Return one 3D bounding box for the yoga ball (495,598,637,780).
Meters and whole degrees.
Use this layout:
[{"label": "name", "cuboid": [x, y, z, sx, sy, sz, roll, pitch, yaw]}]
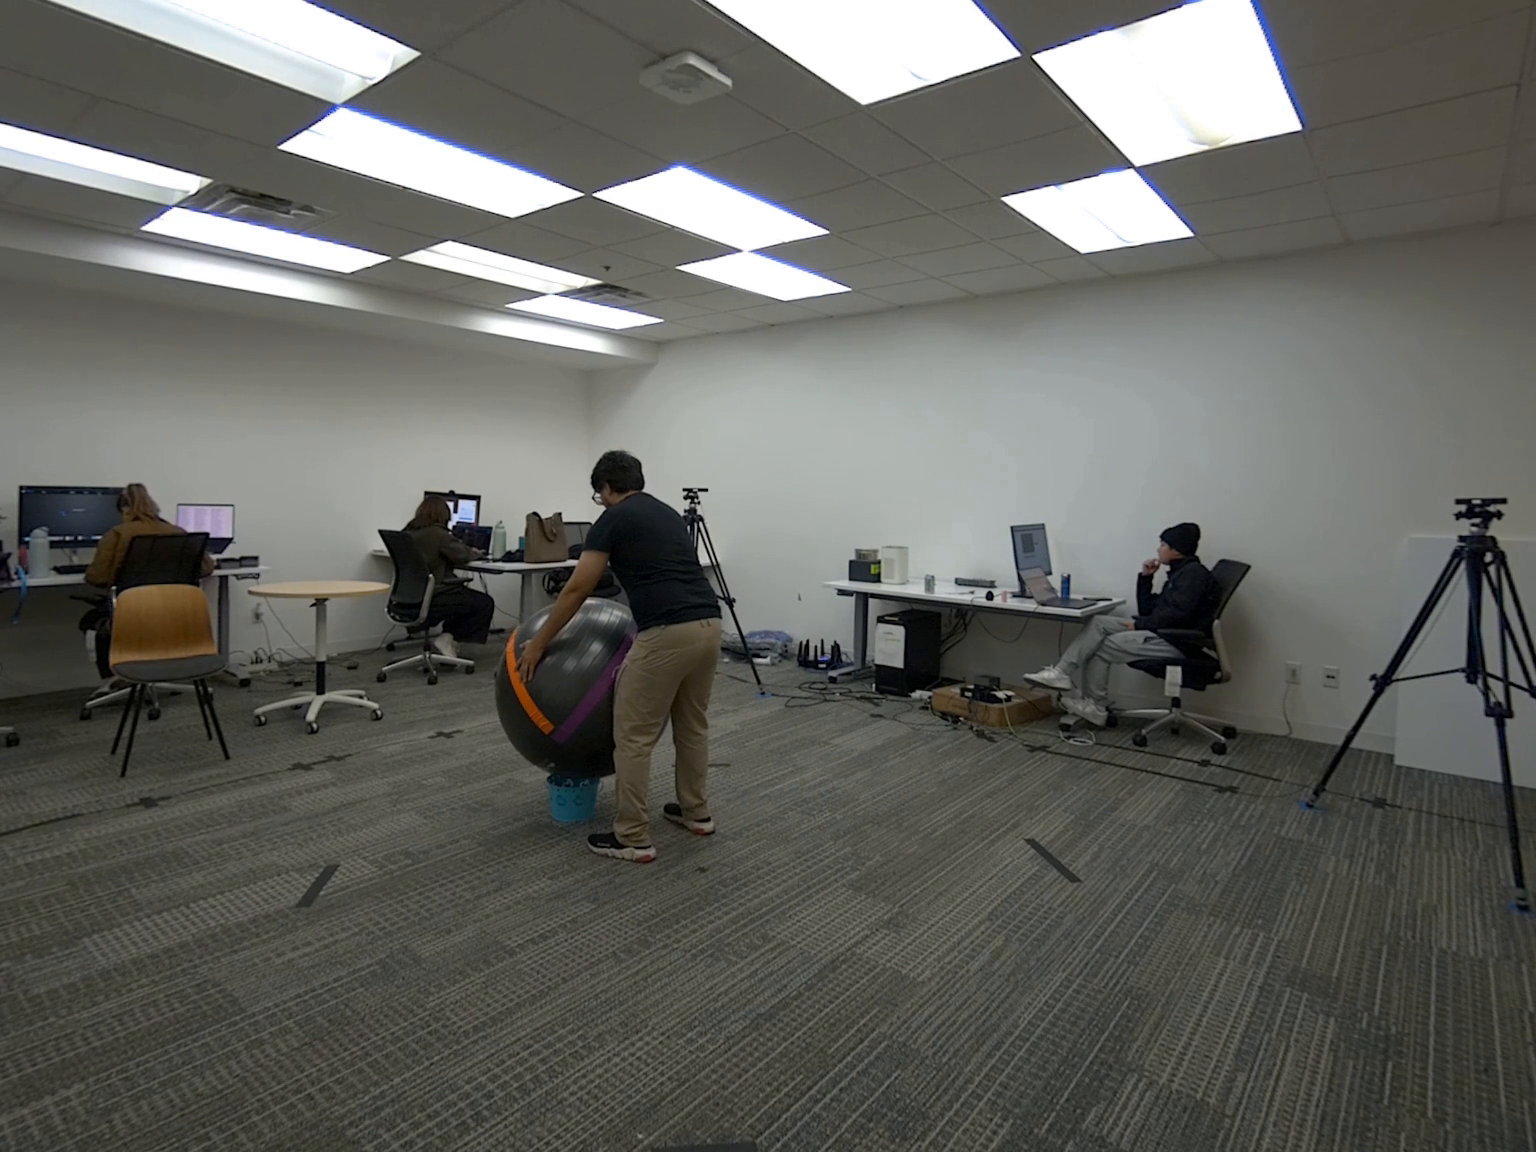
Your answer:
[{"label": "yoga ball", "cuboid": [-0.785, 0.472, 3.624, 0.757, 0.755, 0.762, 1, 4, -2]}]
